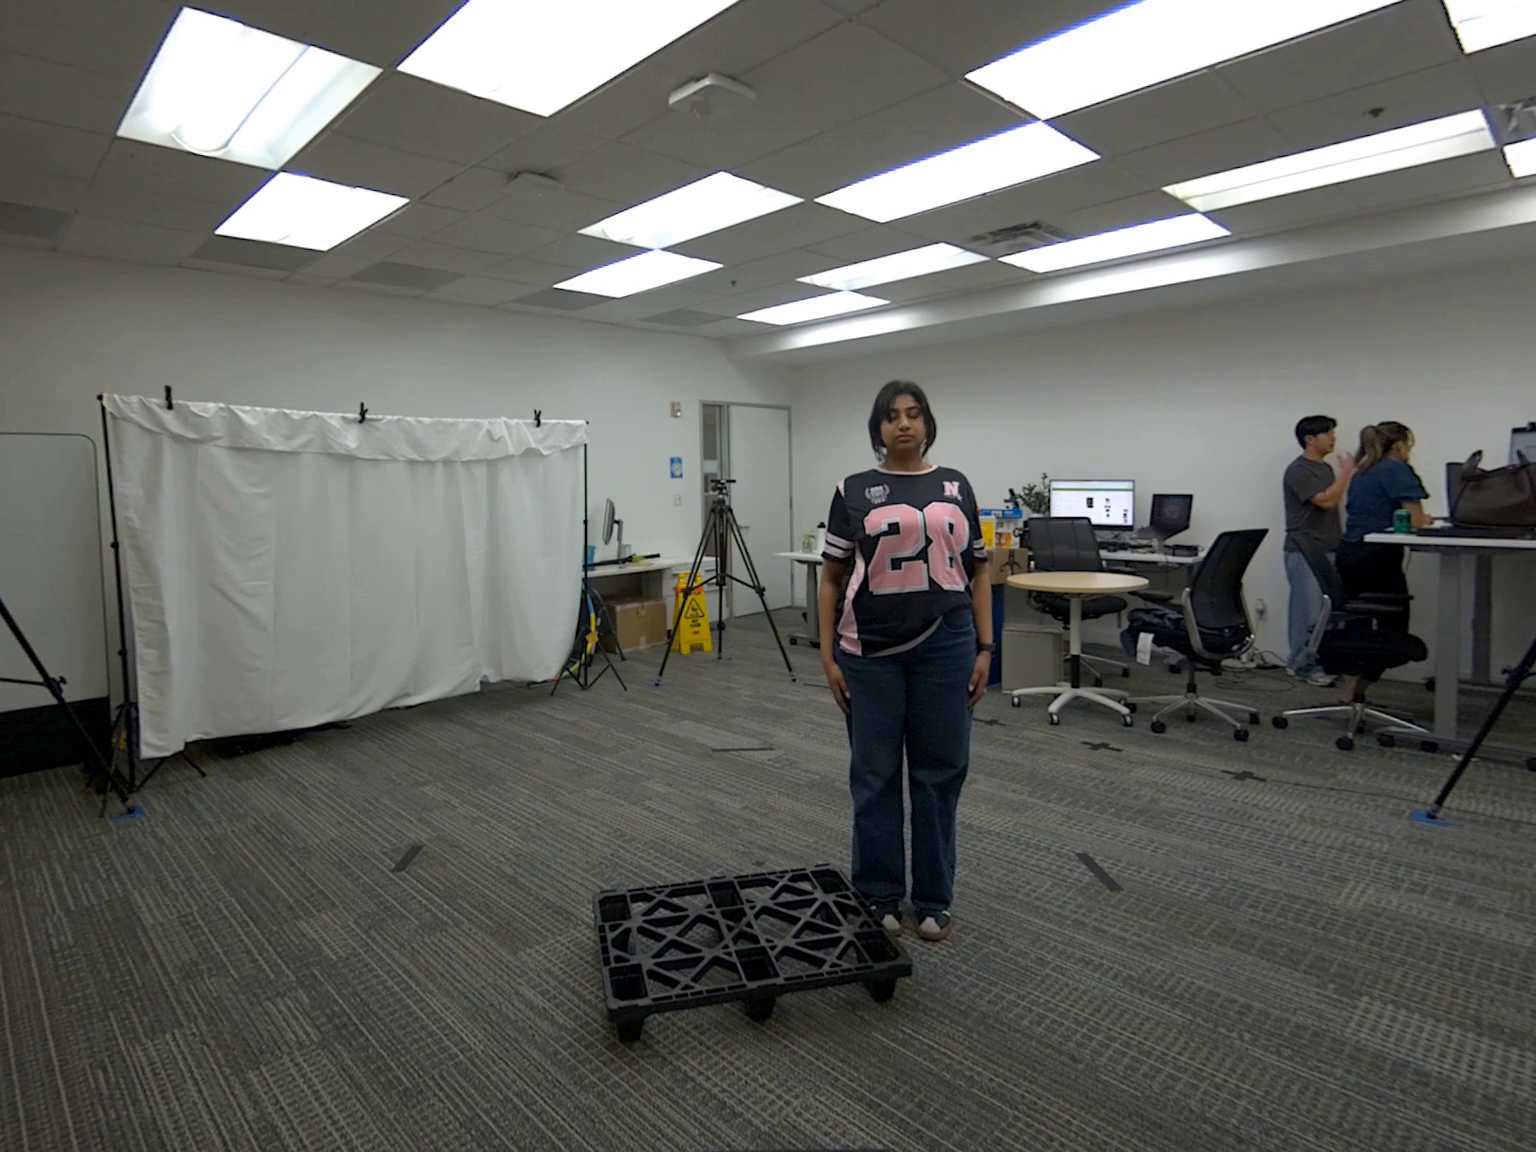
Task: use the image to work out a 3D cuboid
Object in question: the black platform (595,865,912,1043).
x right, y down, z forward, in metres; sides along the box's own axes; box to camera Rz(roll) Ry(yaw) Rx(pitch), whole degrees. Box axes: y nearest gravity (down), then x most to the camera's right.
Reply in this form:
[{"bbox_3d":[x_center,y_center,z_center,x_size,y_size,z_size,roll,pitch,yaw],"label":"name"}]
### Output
[{"bbox_3d":[-0.079,1.059,2.436,0.796,0.142,0.615,-2,7,-13],"label":"black platform"}]
